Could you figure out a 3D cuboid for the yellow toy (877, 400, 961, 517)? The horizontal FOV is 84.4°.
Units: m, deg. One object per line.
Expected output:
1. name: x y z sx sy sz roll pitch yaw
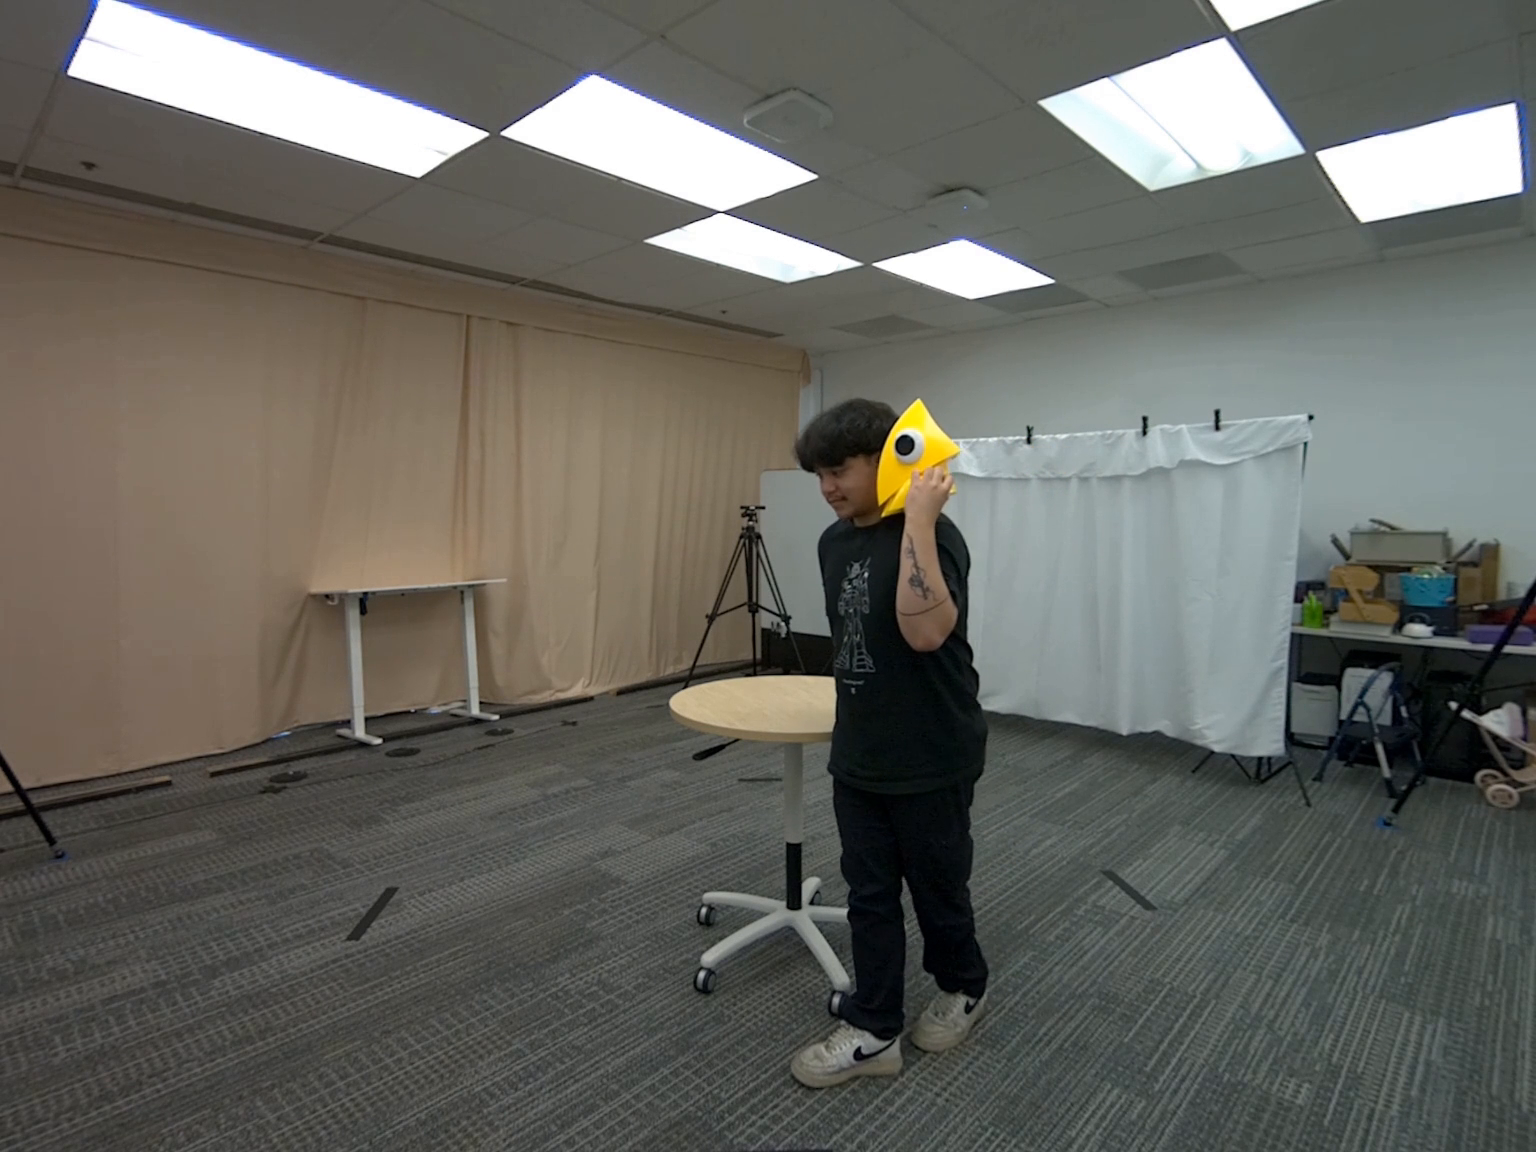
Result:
1. yellow toy: 0.322 -0.274 1.902 0.193 0.231 0.204 -15 -2 1
